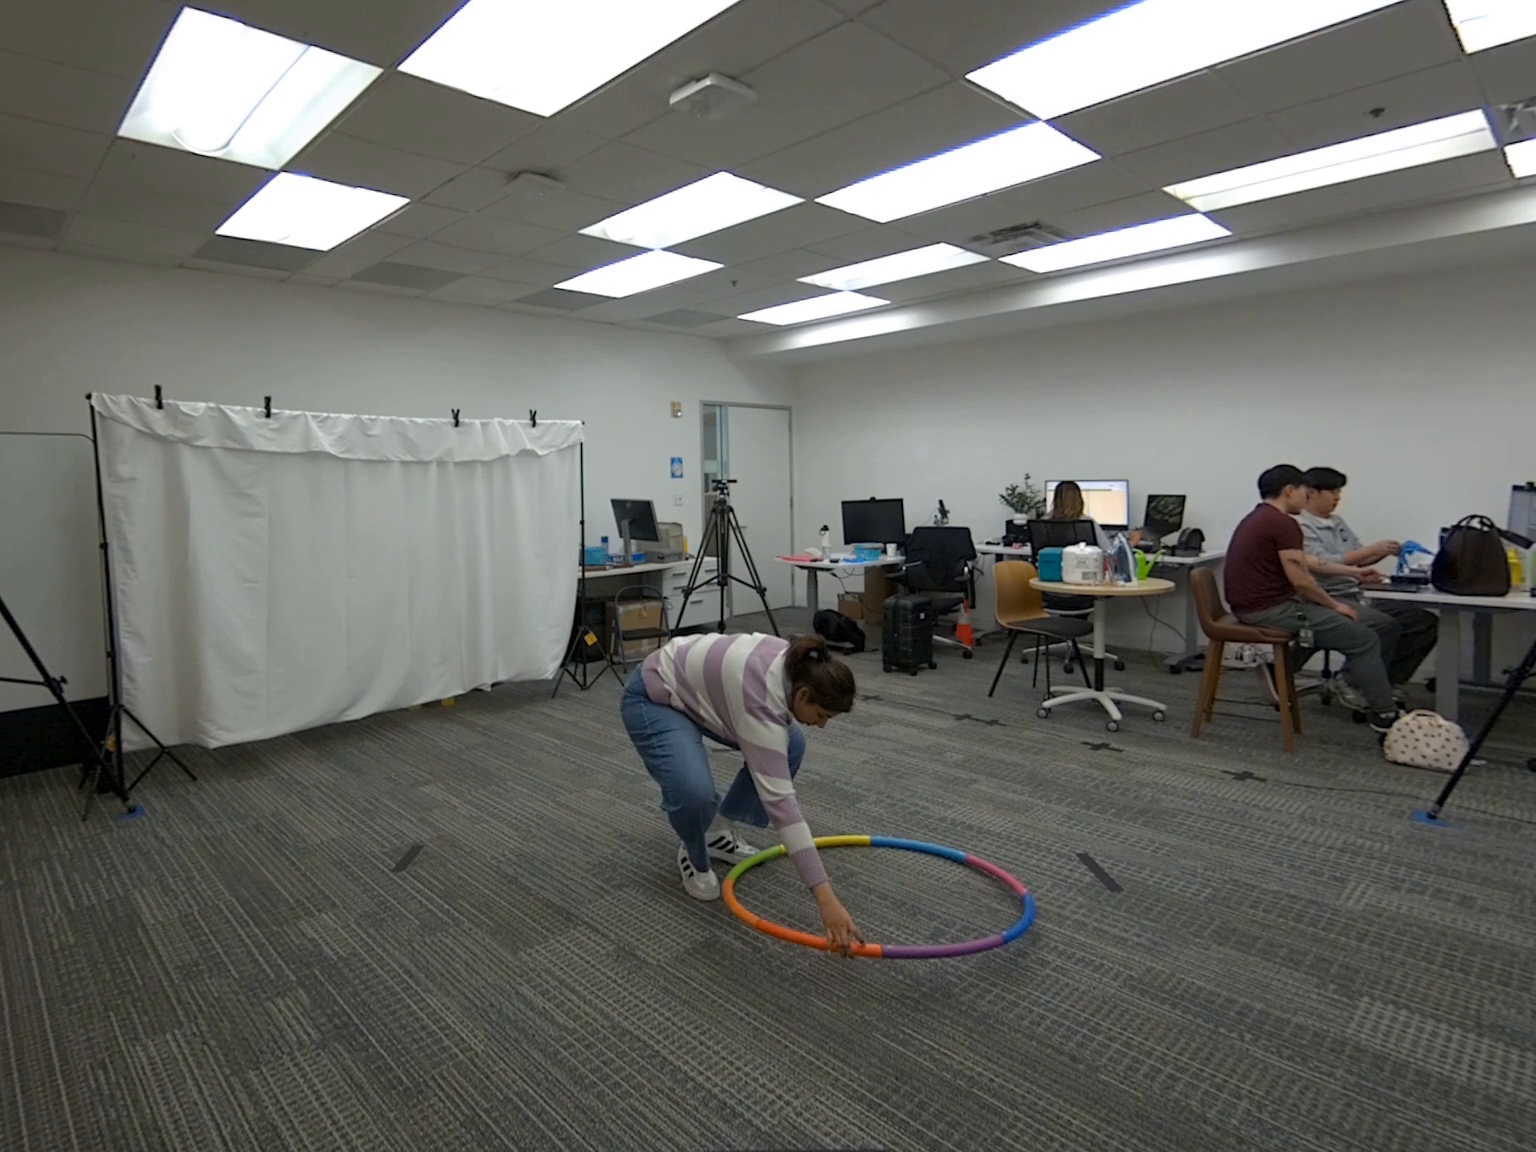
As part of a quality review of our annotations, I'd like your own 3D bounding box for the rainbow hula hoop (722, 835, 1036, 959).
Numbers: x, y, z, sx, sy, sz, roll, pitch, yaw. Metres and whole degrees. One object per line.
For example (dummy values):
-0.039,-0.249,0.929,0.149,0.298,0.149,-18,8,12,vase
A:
0.345,1.001,2.781,0.985,0.051,0.986,0,1,-2,rainbow hula hoop
